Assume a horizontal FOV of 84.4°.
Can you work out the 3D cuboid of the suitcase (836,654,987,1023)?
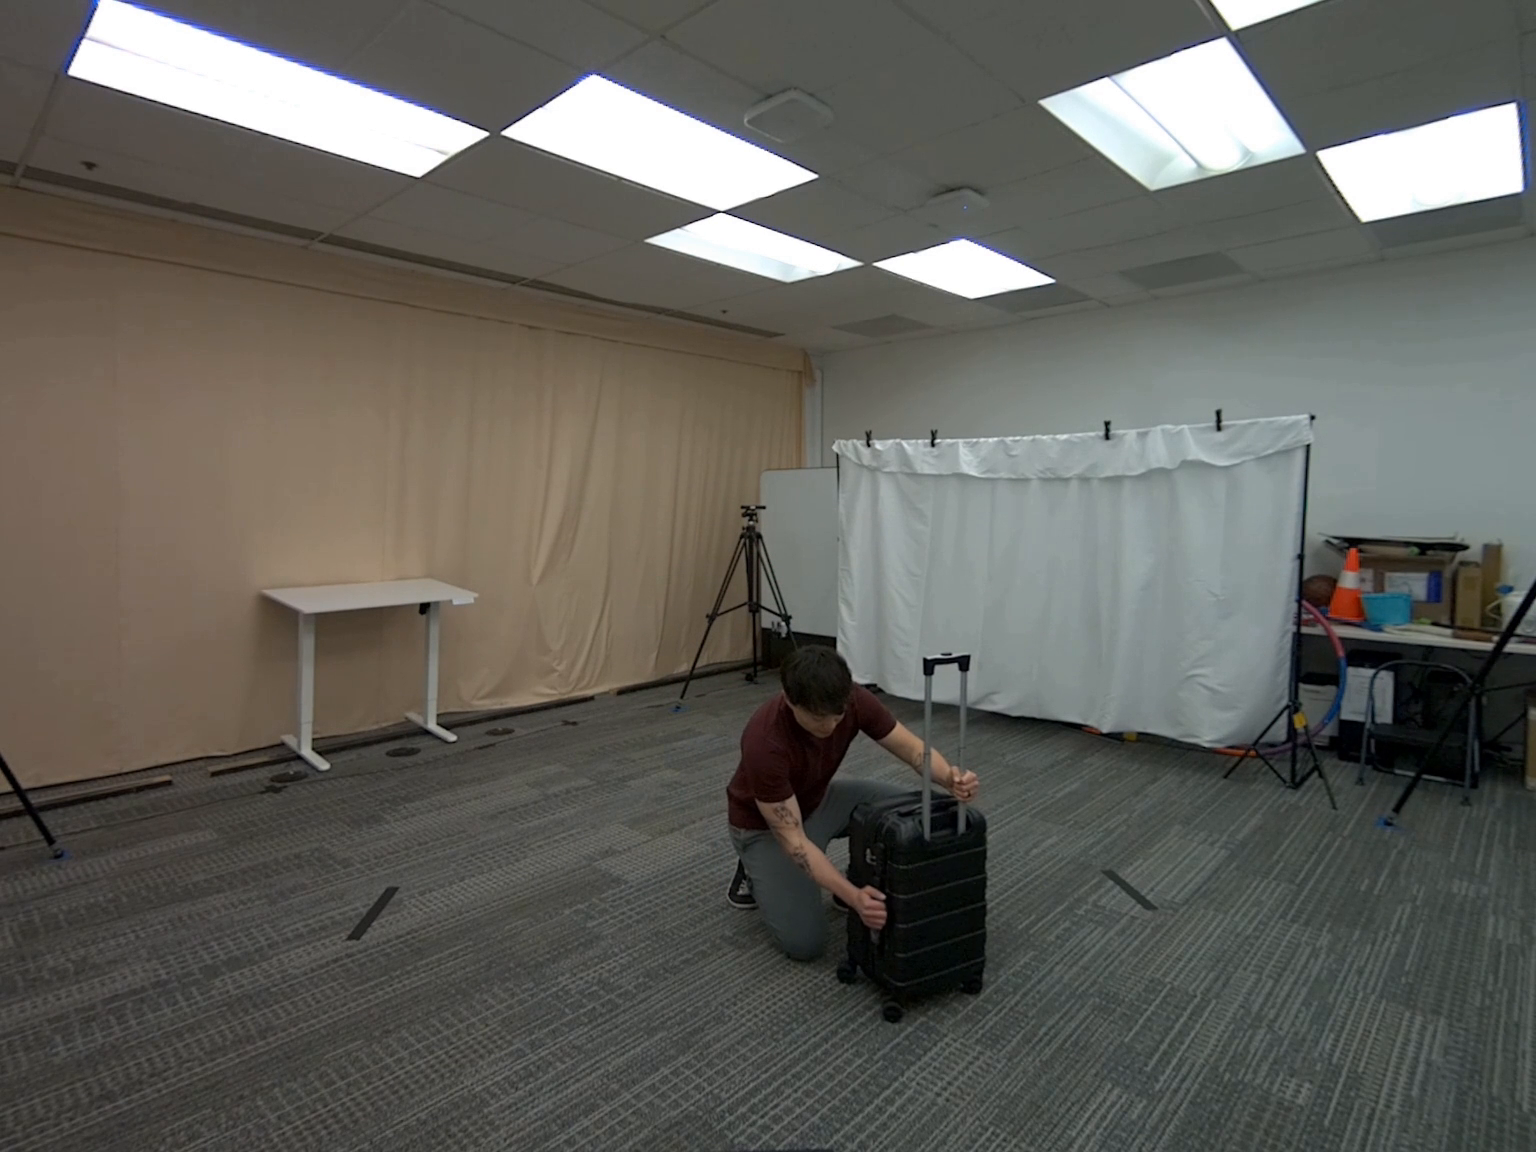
[{"bbox_3d":[0.431,0.703,2.420,0.374,0.977,0.264,0,2,-28],"label":"suitcase"}]
